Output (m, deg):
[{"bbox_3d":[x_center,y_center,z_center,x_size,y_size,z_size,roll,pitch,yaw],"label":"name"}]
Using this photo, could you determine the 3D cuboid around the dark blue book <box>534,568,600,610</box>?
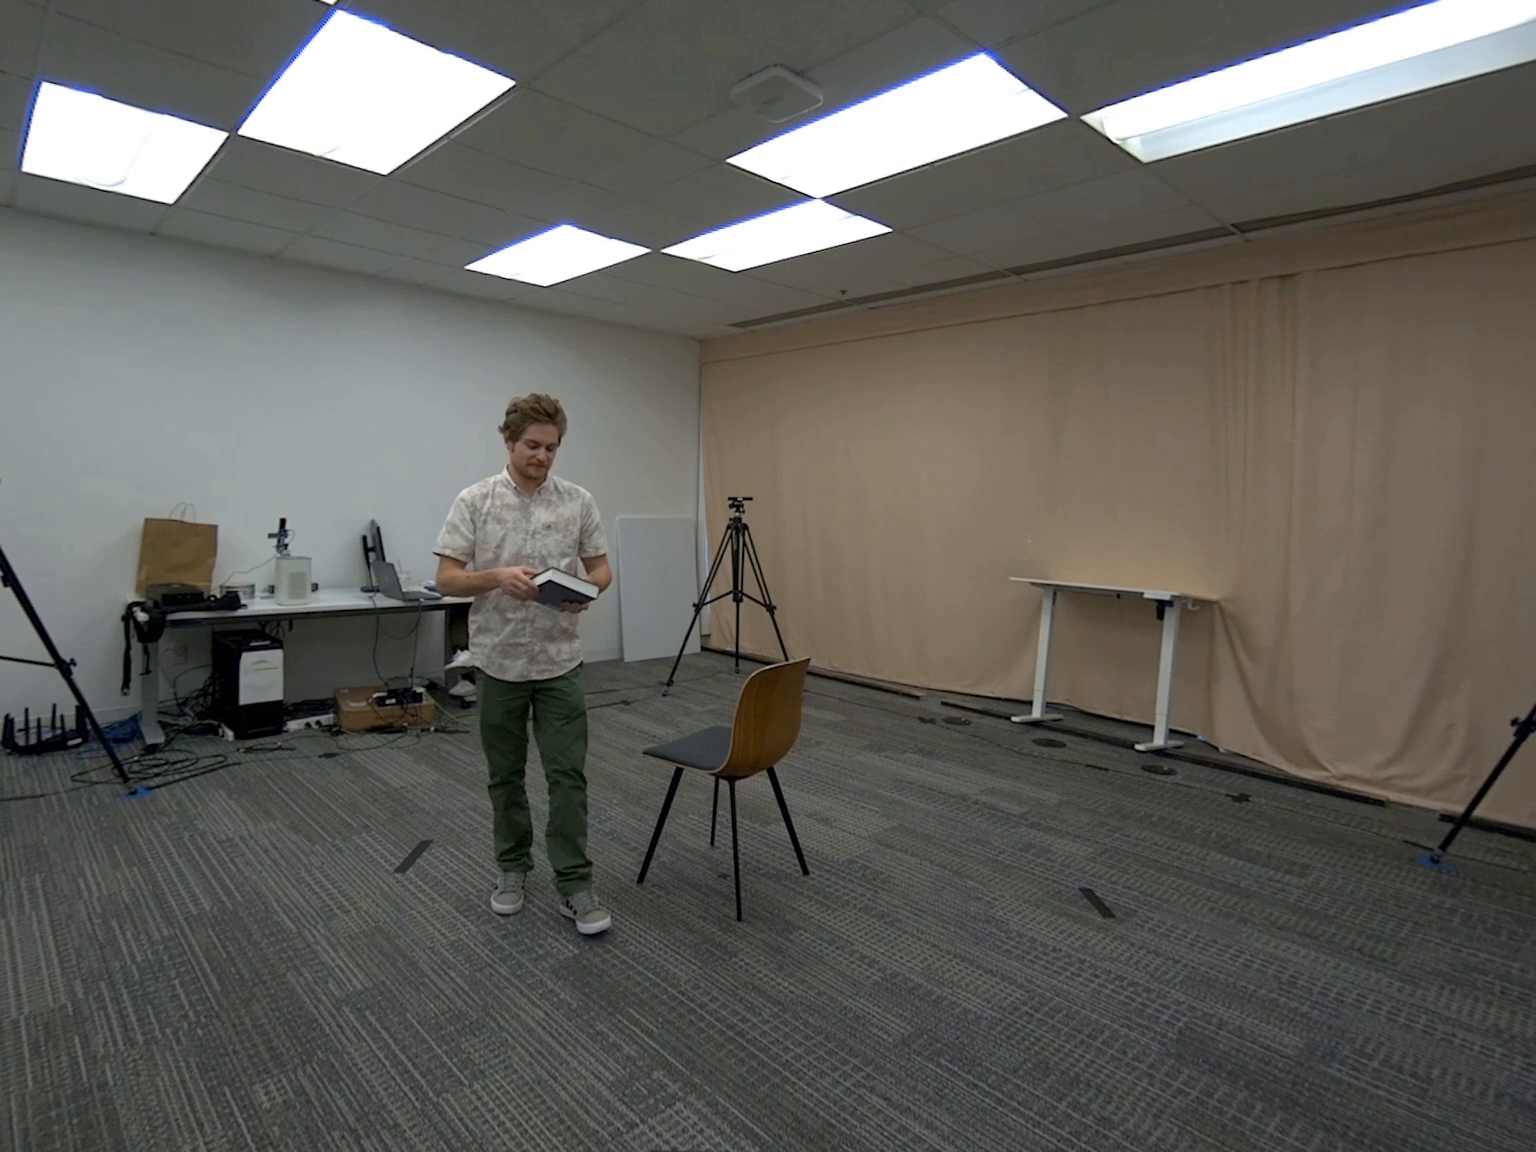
[{"bbox_3d":[-0.650,0.044,2.560,0.159,0.046,0.248,25,-24,-28],"label":"dark blue book"}]
